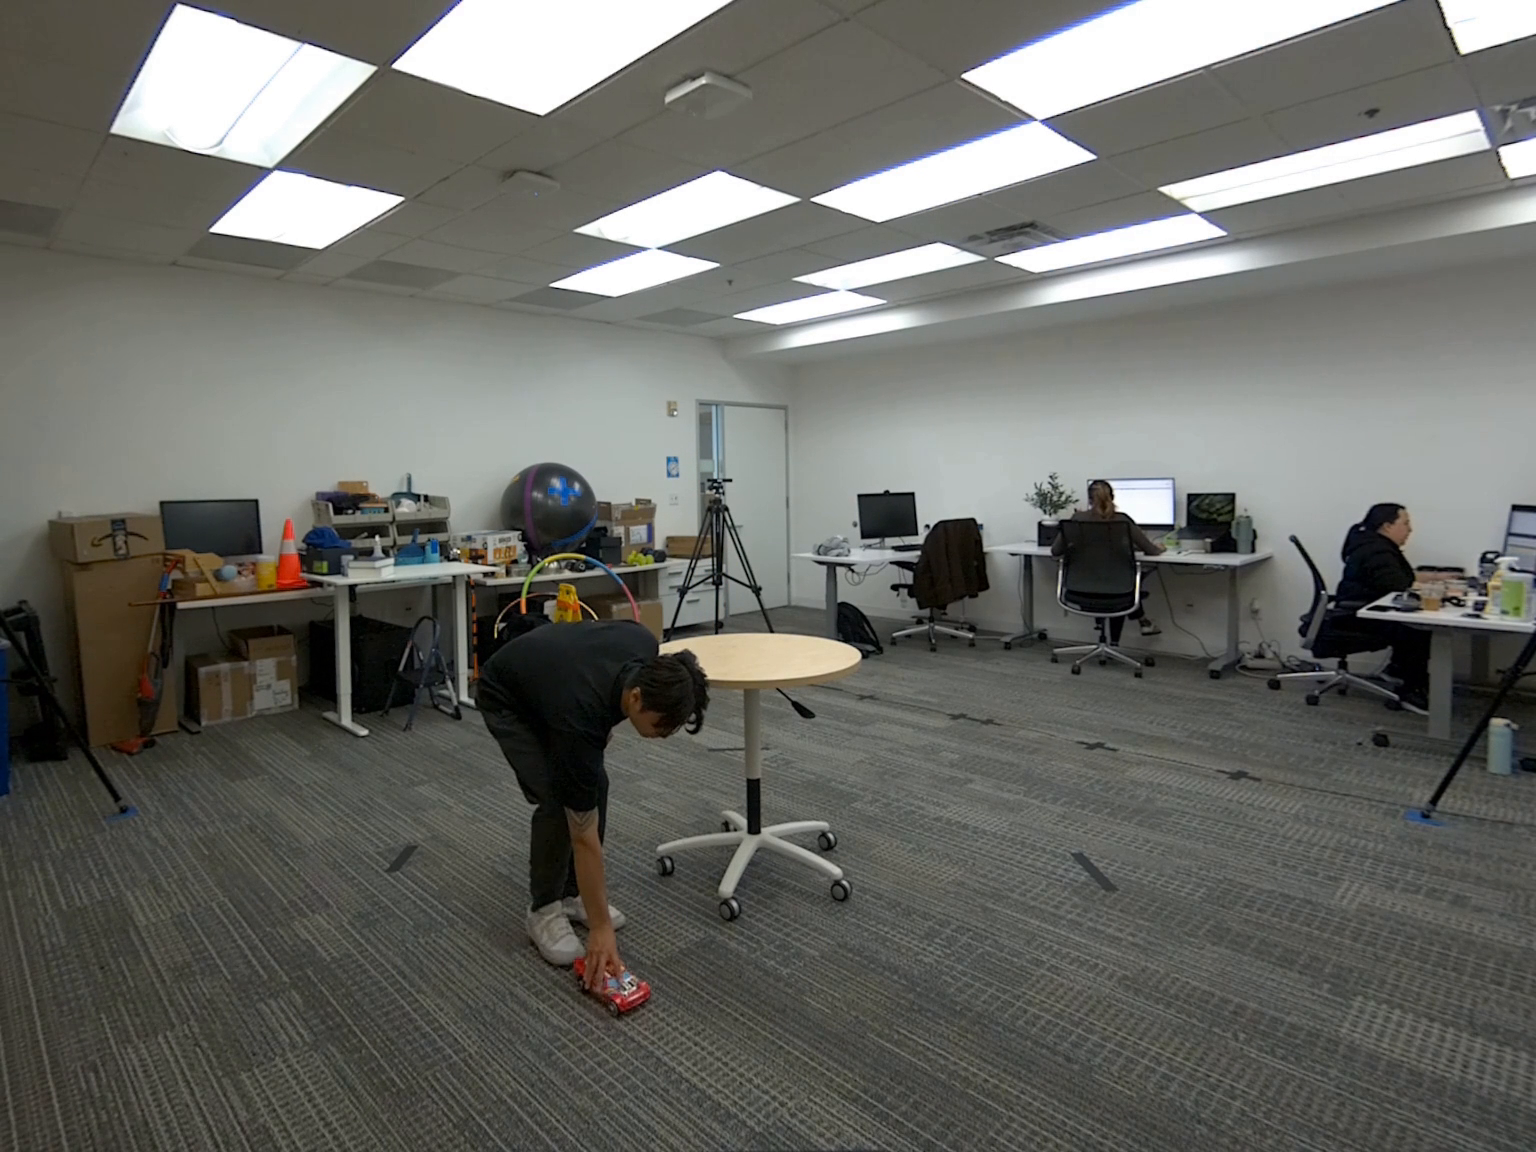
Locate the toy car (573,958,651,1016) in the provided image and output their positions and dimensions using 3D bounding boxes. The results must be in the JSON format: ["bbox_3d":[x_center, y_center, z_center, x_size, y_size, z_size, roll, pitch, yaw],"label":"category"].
[{"bbox_3d":[-0.433,1.114,2.345,0.127,0.082,0.264,-6,19,-43],"label":"toy car"}]
